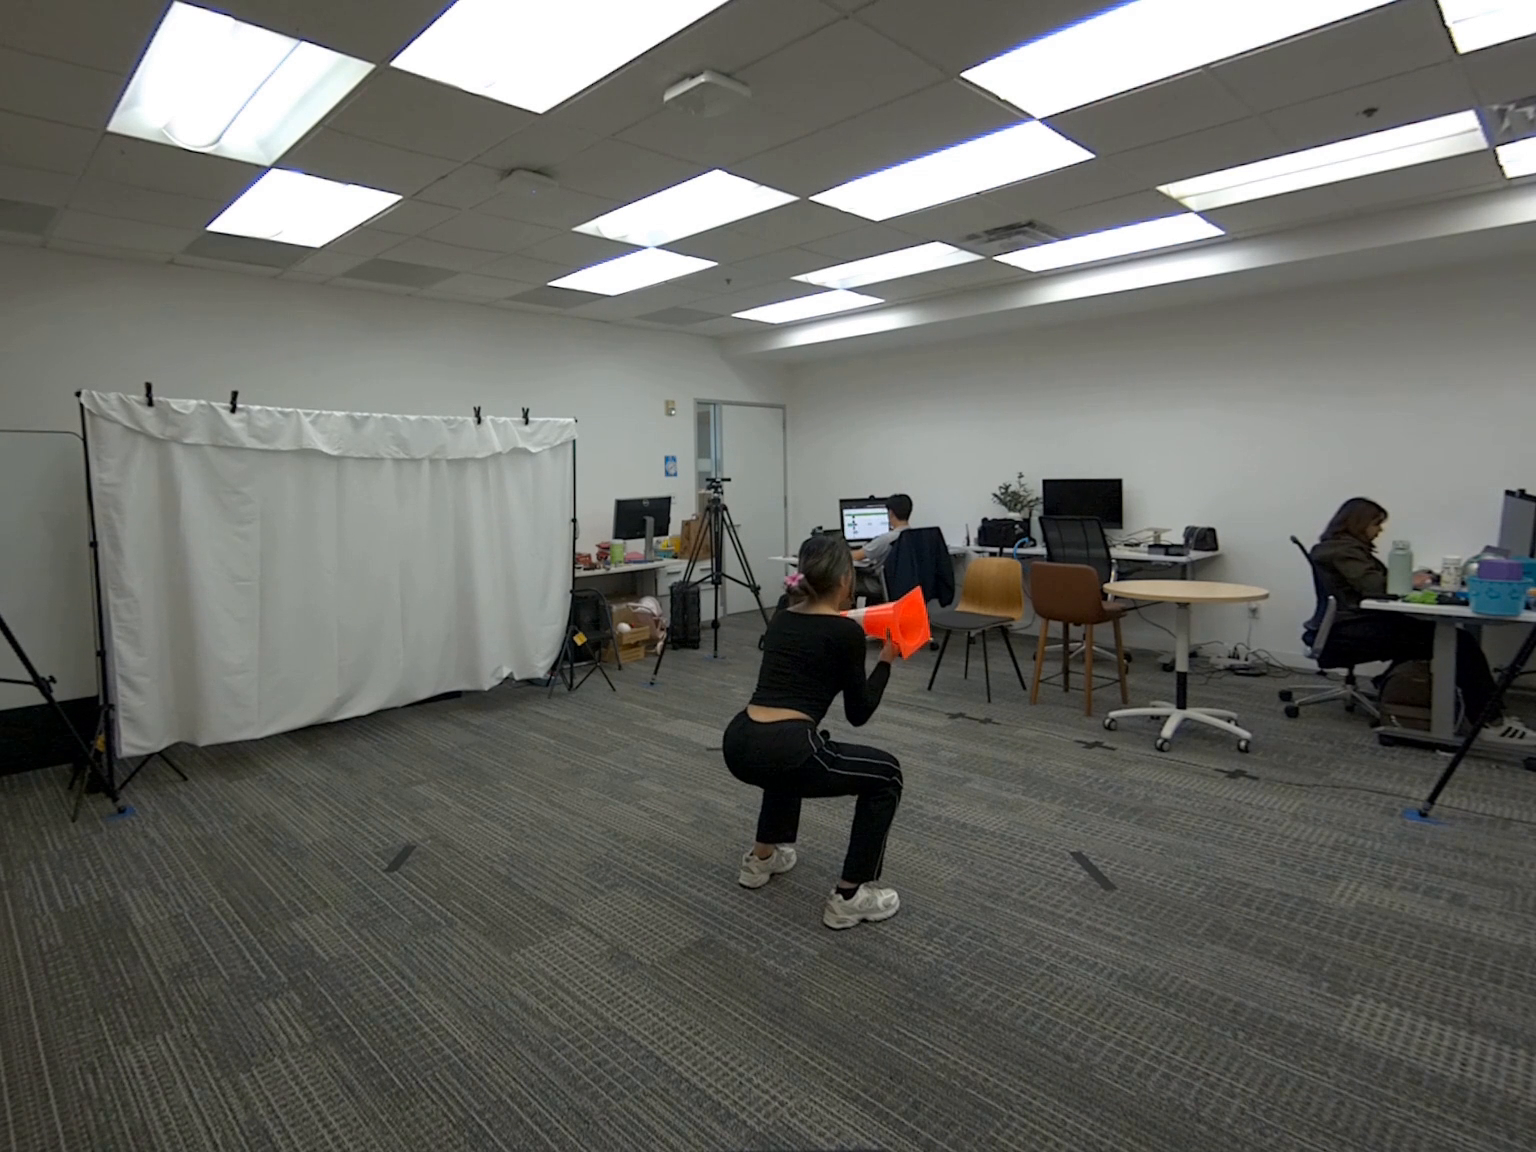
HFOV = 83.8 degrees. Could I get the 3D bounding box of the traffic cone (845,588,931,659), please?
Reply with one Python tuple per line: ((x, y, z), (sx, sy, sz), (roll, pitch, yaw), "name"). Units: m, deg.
((0.357, 0.157, 3.081), (0.395, 0.201, 0.201), (0, 22, 42), "traffic cone")
